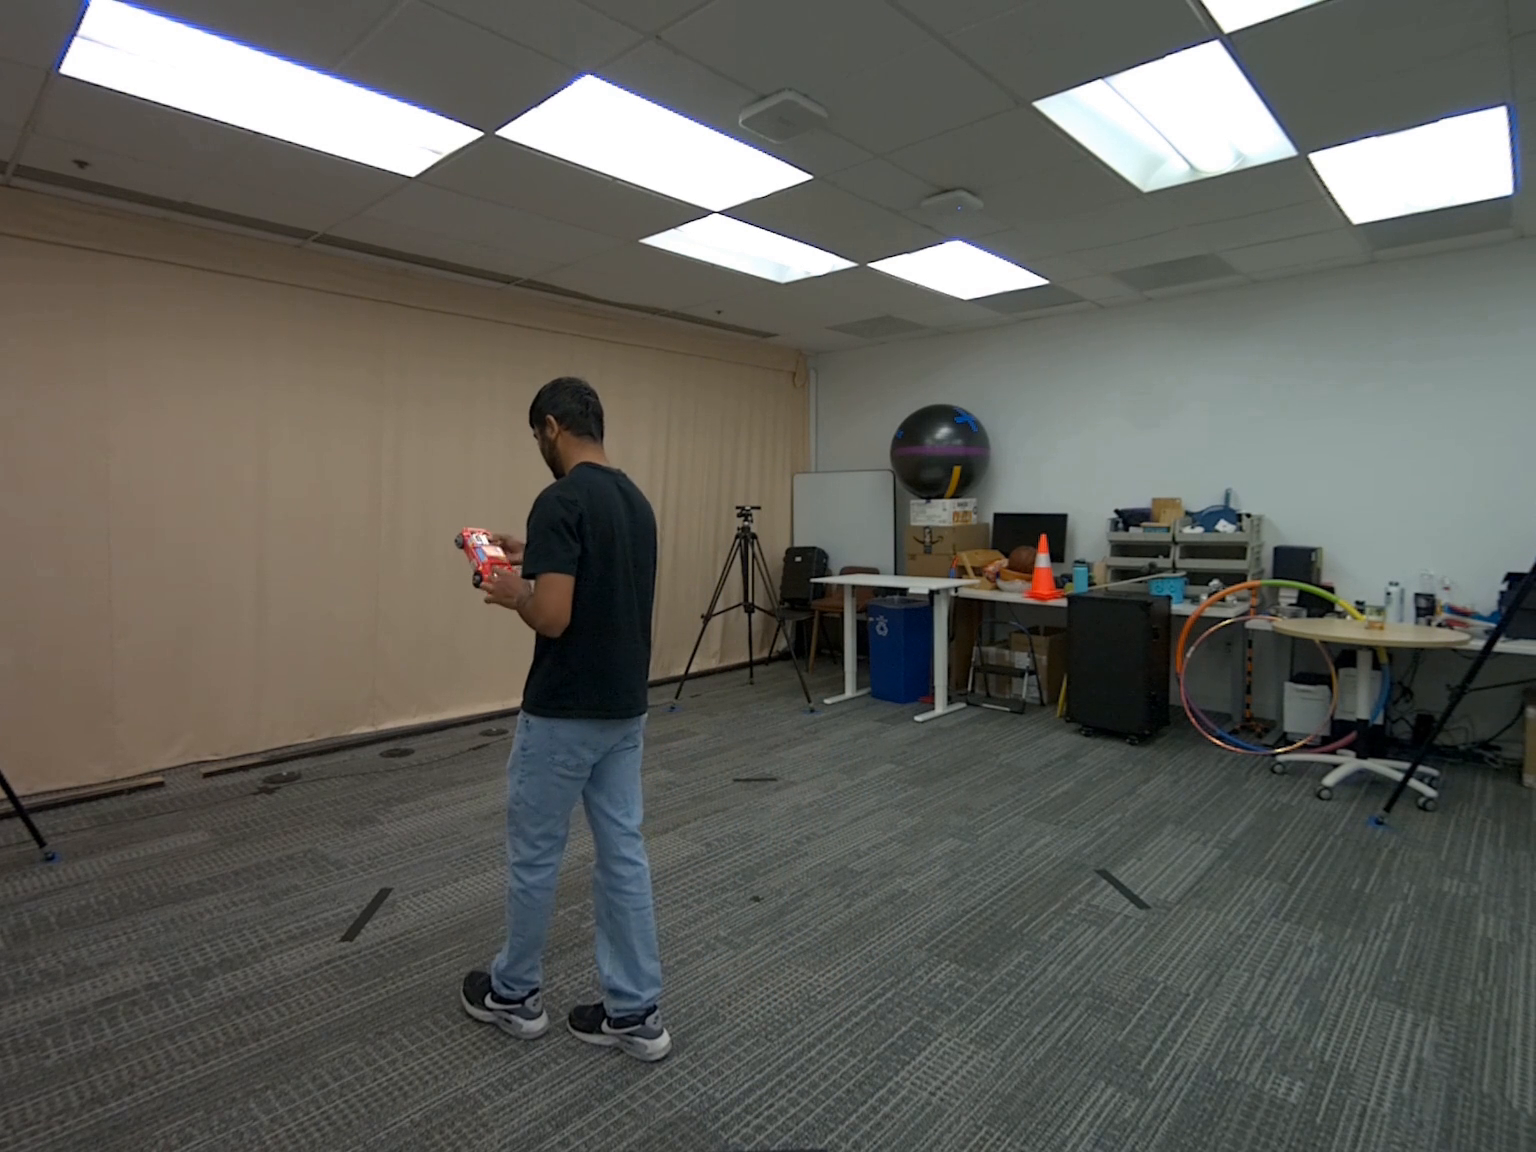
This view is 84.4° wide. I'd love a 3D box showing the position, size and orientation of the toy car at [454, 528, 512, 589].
[{"bbox_3d":[-0.770,-0.032,2.330,0.126,0.083,0.263,6,32,-50],"label":"toy car"}]
